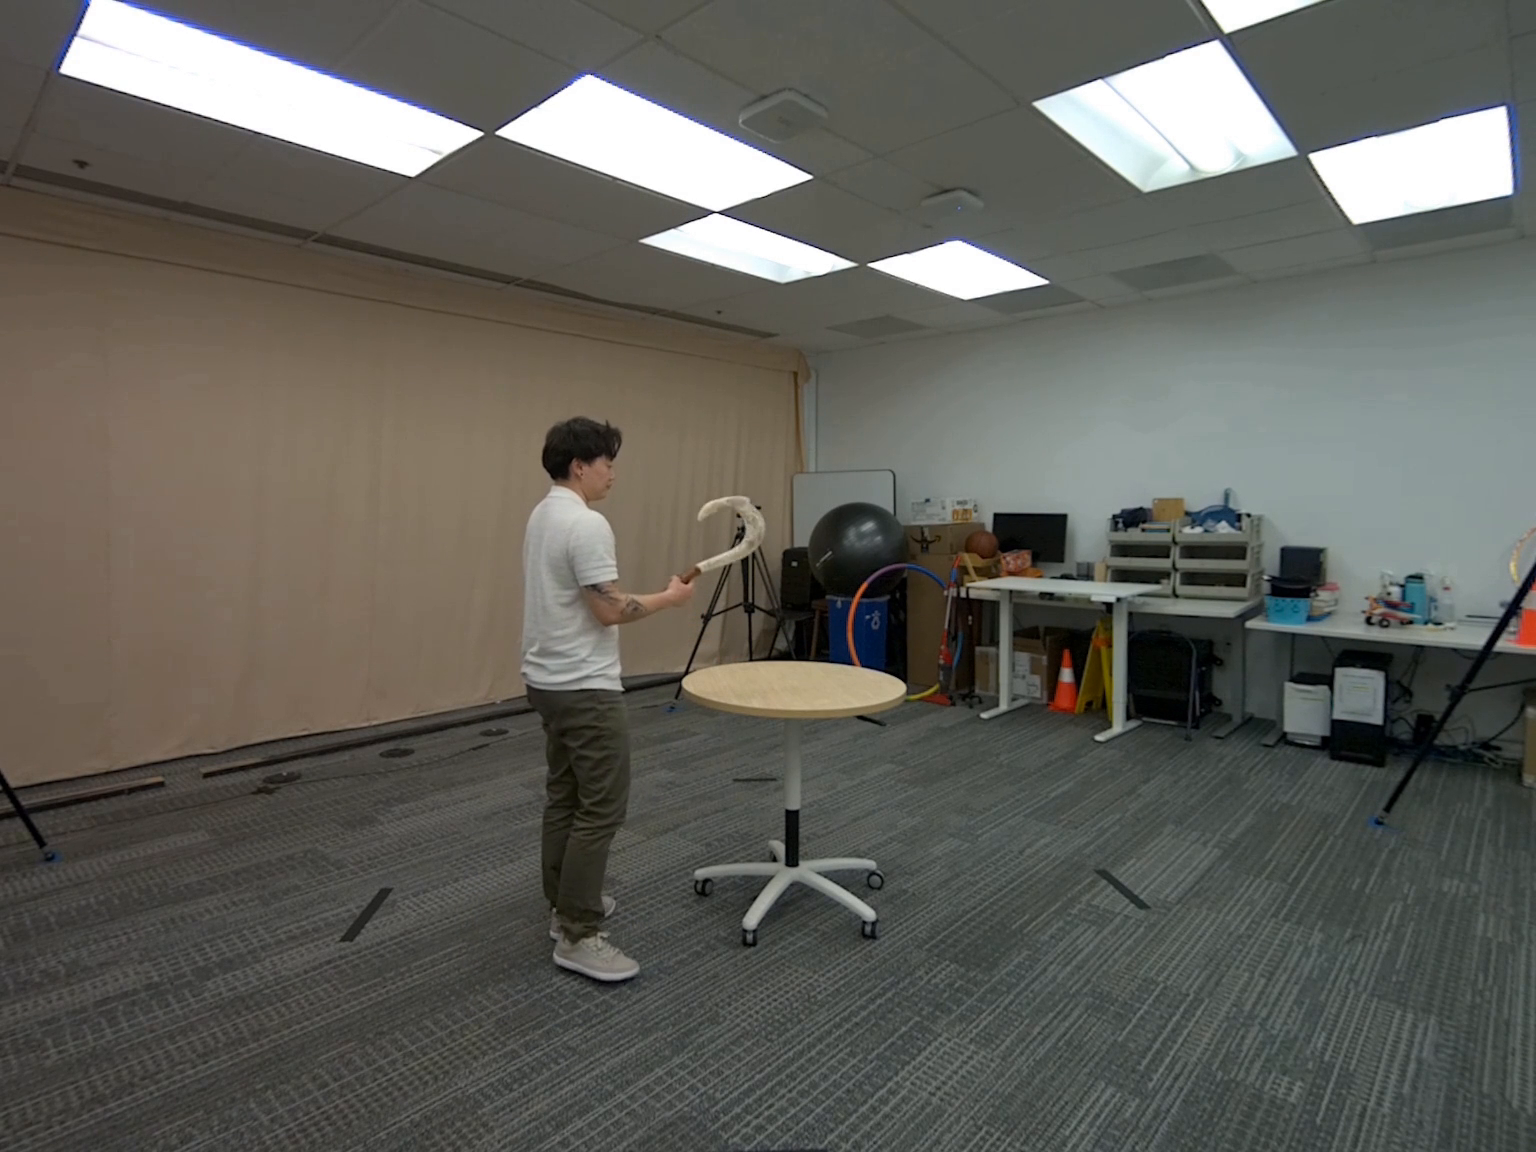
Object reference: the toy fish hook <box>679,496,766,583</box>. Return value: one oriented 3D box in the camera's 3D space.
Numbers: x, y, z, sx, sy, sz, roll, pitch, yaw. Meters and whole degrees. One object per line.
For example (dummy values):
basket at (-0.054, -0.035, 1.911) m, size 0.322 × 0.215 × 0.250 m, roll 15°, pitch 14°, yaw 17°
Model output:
toy fish hook at (-0.226, -0.088, 2.831) m, size 0.502 × 0.226 × 0.048 m, roll -37°, pitch -6°, yaw -18°
